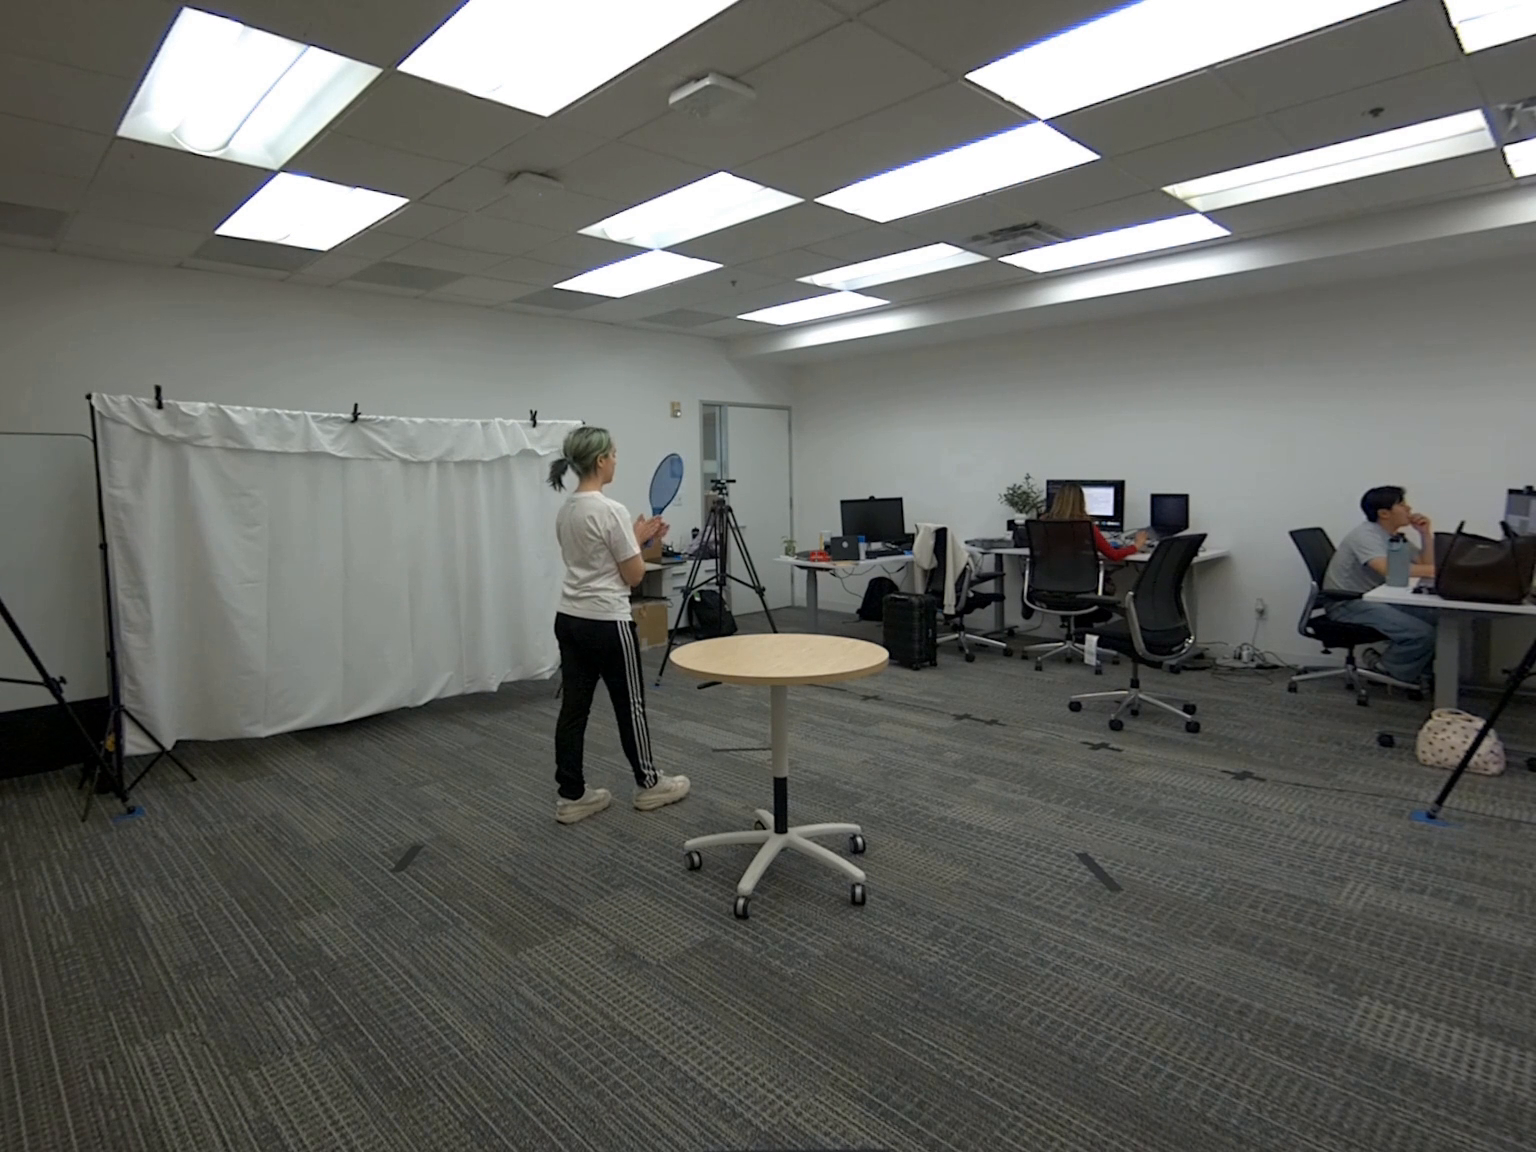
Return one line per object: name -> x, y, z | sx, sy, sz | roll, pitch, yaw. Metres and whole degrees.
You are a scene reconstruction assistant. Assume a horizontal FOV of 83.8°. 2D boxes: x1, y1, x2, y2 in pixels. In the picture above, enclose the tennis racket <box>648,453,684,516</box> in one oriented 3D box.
tennis racket -> -0.473, -0.339, 3.762 | 0.030, 0.435, 0.221 | 23, -9, -42
